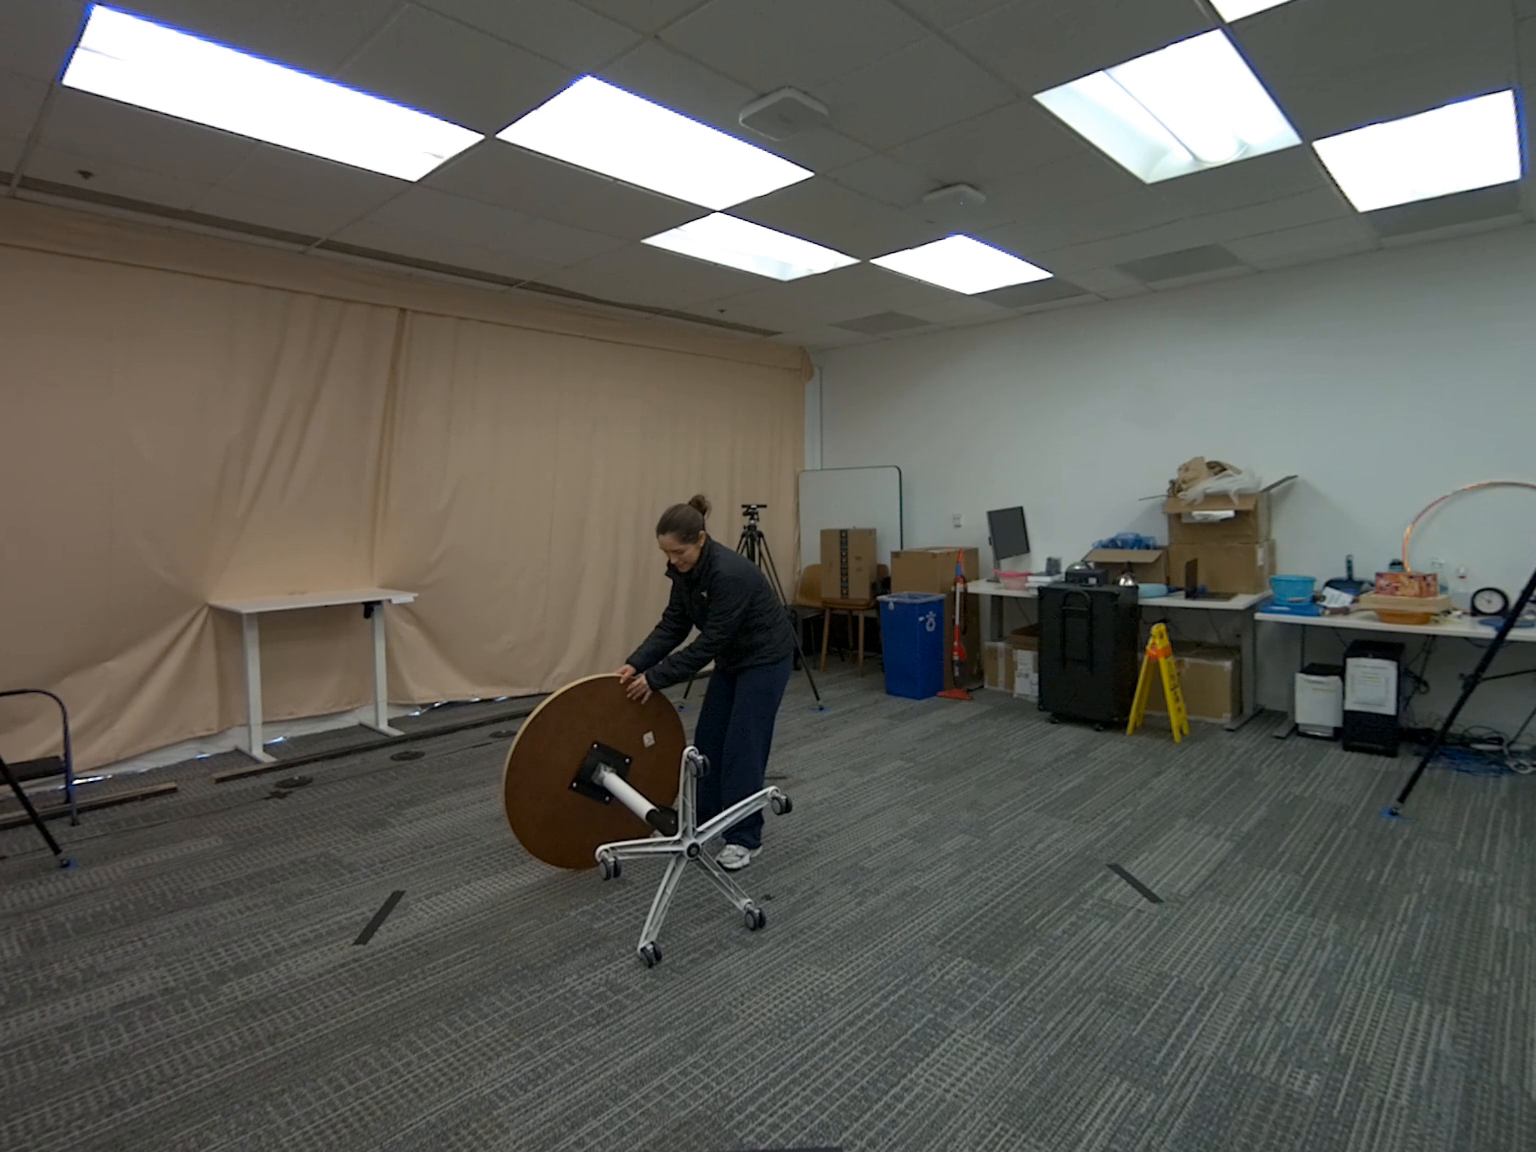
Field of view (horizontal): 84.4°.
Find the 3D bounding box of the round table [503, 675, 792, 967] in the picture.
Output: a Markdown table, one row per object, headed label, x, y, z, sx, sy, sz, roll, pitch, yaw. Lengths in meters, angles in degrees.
| label | x | y | z | sx | sy | sz | roll | pitch | yaw |
| --- | --- | --- | --- | --- | --- | --- | --- | --- | --- |
| round table | -0.410 | 0.818 | 2.926 | 0.762 | 0.781 | 0.814 | -4 | 12 | -35 |
